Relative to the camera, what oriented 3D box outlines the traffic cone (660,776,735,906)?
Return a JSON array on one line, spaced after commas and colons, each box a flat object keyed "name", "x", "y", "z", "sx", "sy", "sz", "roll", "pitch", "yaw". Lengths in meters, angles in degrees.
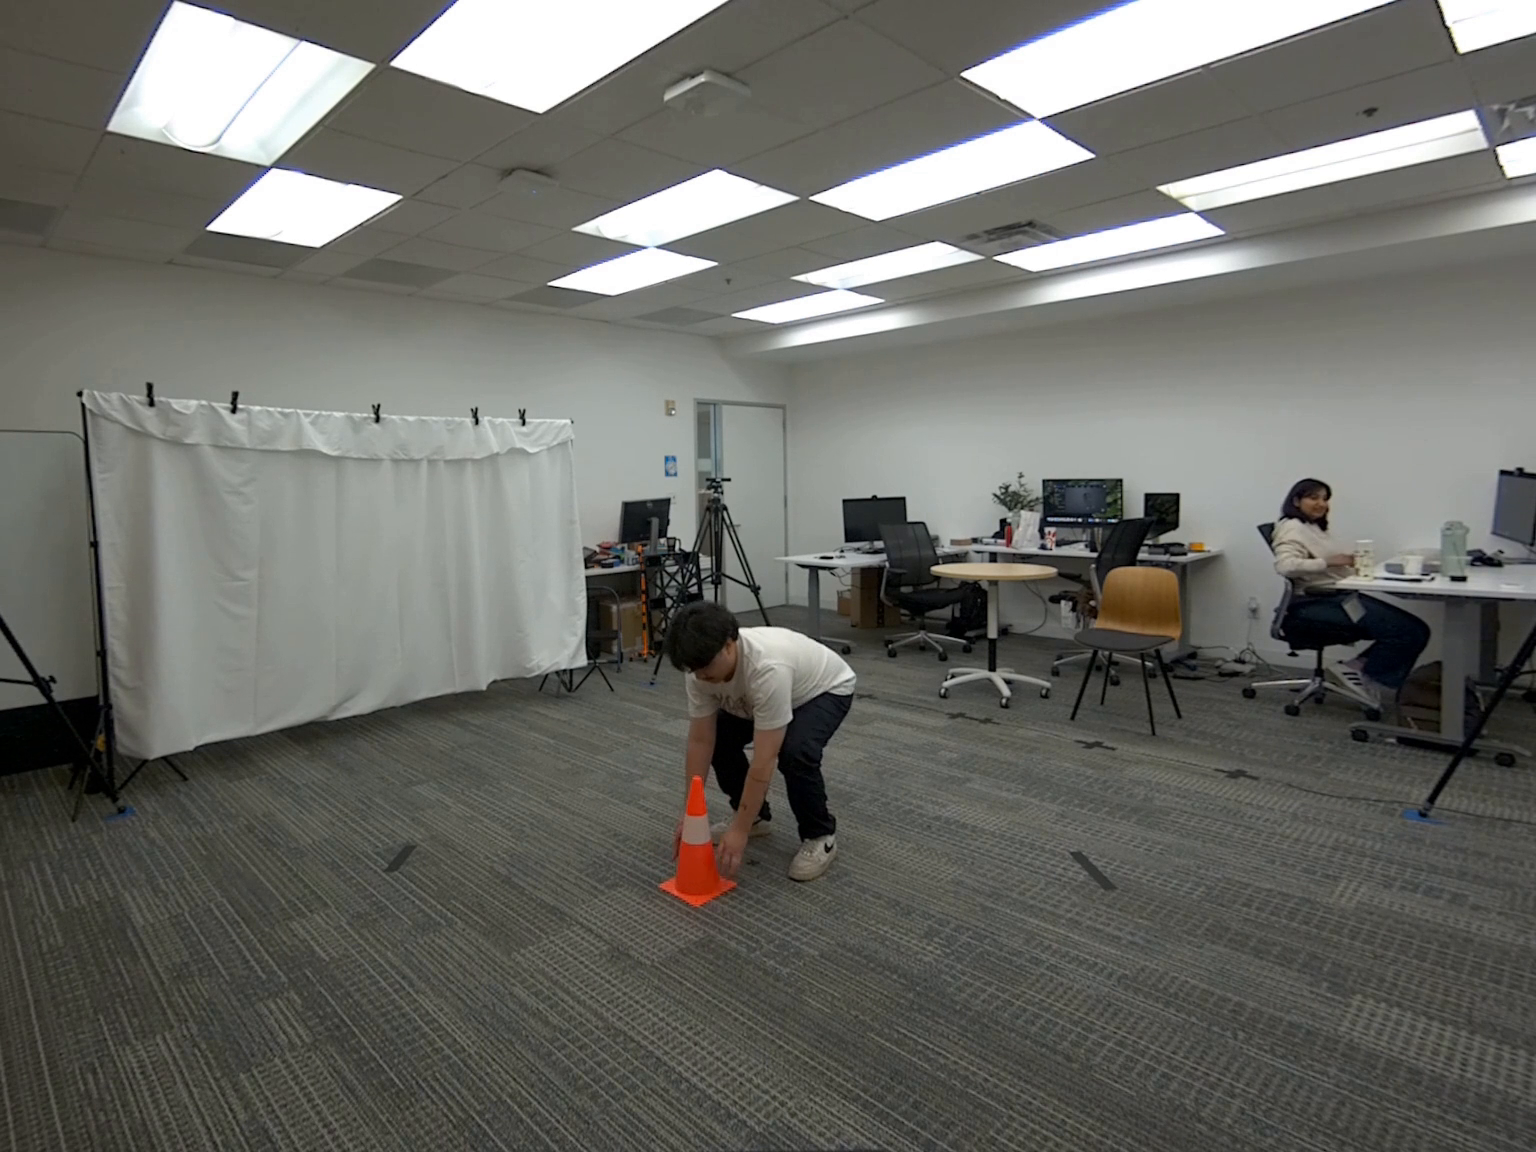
[{"name": "traffic cone", "x": -0.224, "y": 0.883, "z": 2.919, "sx": 0.198, "sy": 0.381, "sz": 0.212, "roll": -2, "pitch": 8, "yaw": -40}]
